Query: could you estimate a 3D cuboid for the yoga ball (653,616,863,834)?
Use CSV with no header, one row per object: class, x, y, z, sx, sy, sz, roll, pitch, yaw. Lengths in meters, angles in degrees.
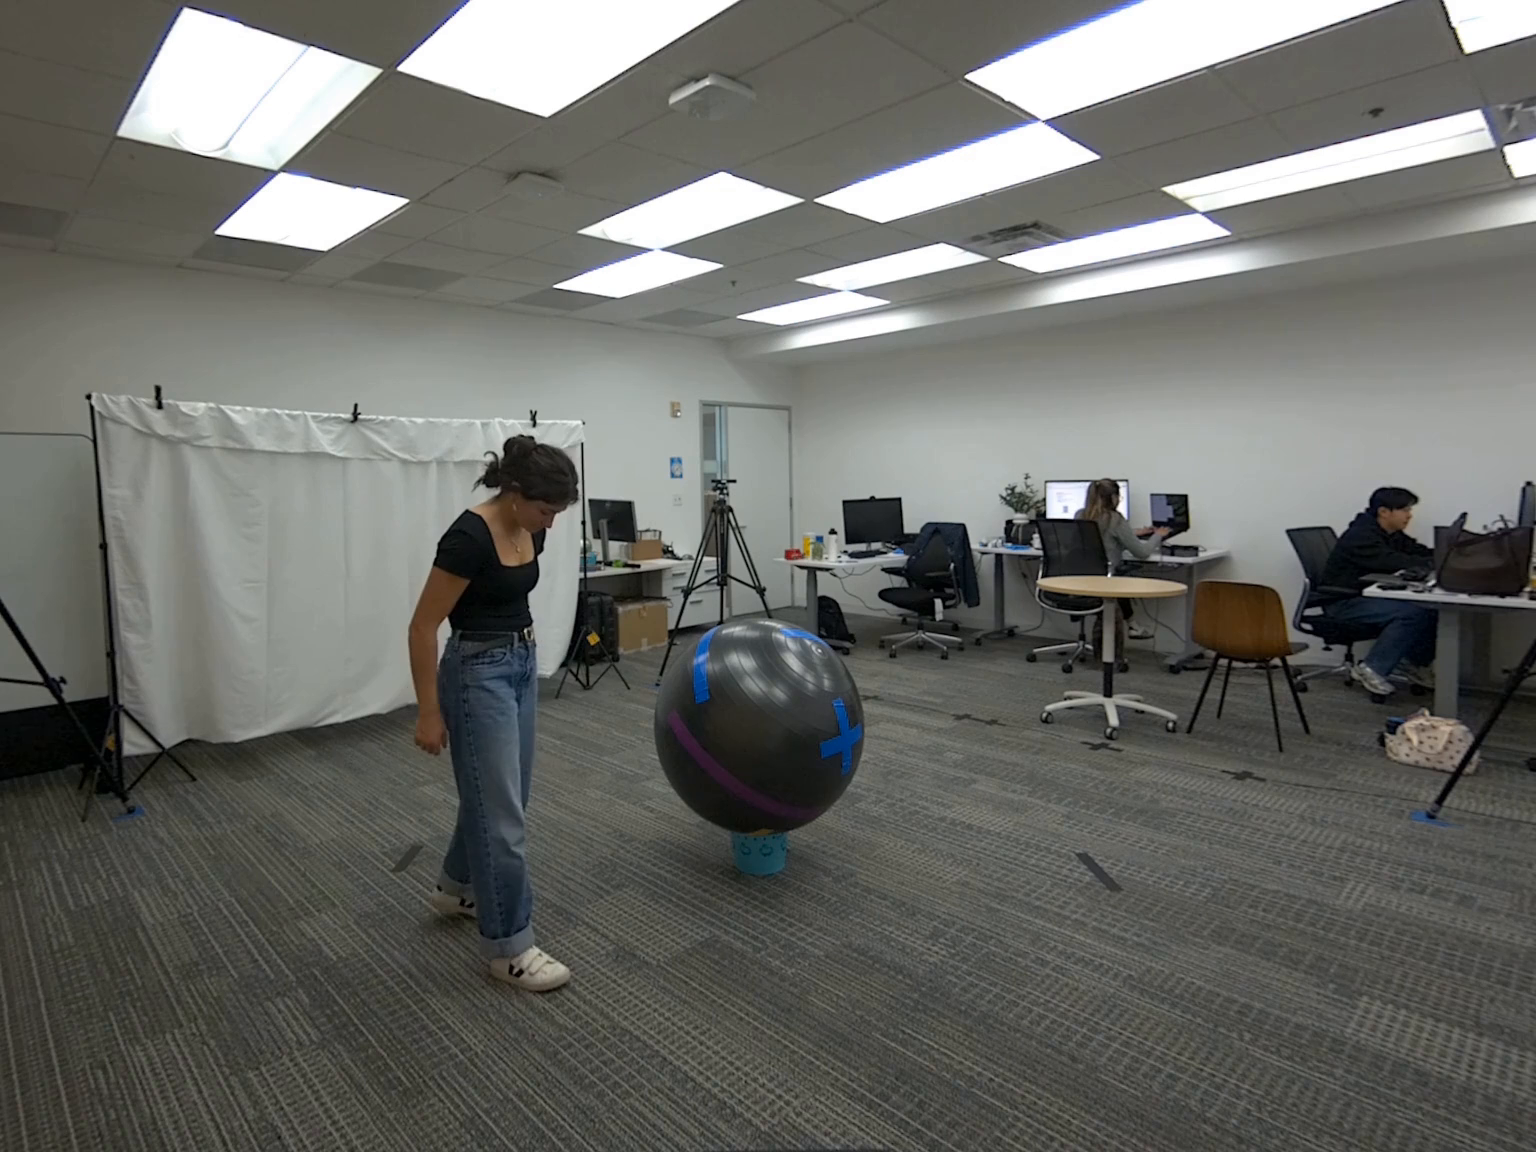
yoga ball,-0.036,0.532,3.084,0.757,0.755,0.762,-1,5,-2
